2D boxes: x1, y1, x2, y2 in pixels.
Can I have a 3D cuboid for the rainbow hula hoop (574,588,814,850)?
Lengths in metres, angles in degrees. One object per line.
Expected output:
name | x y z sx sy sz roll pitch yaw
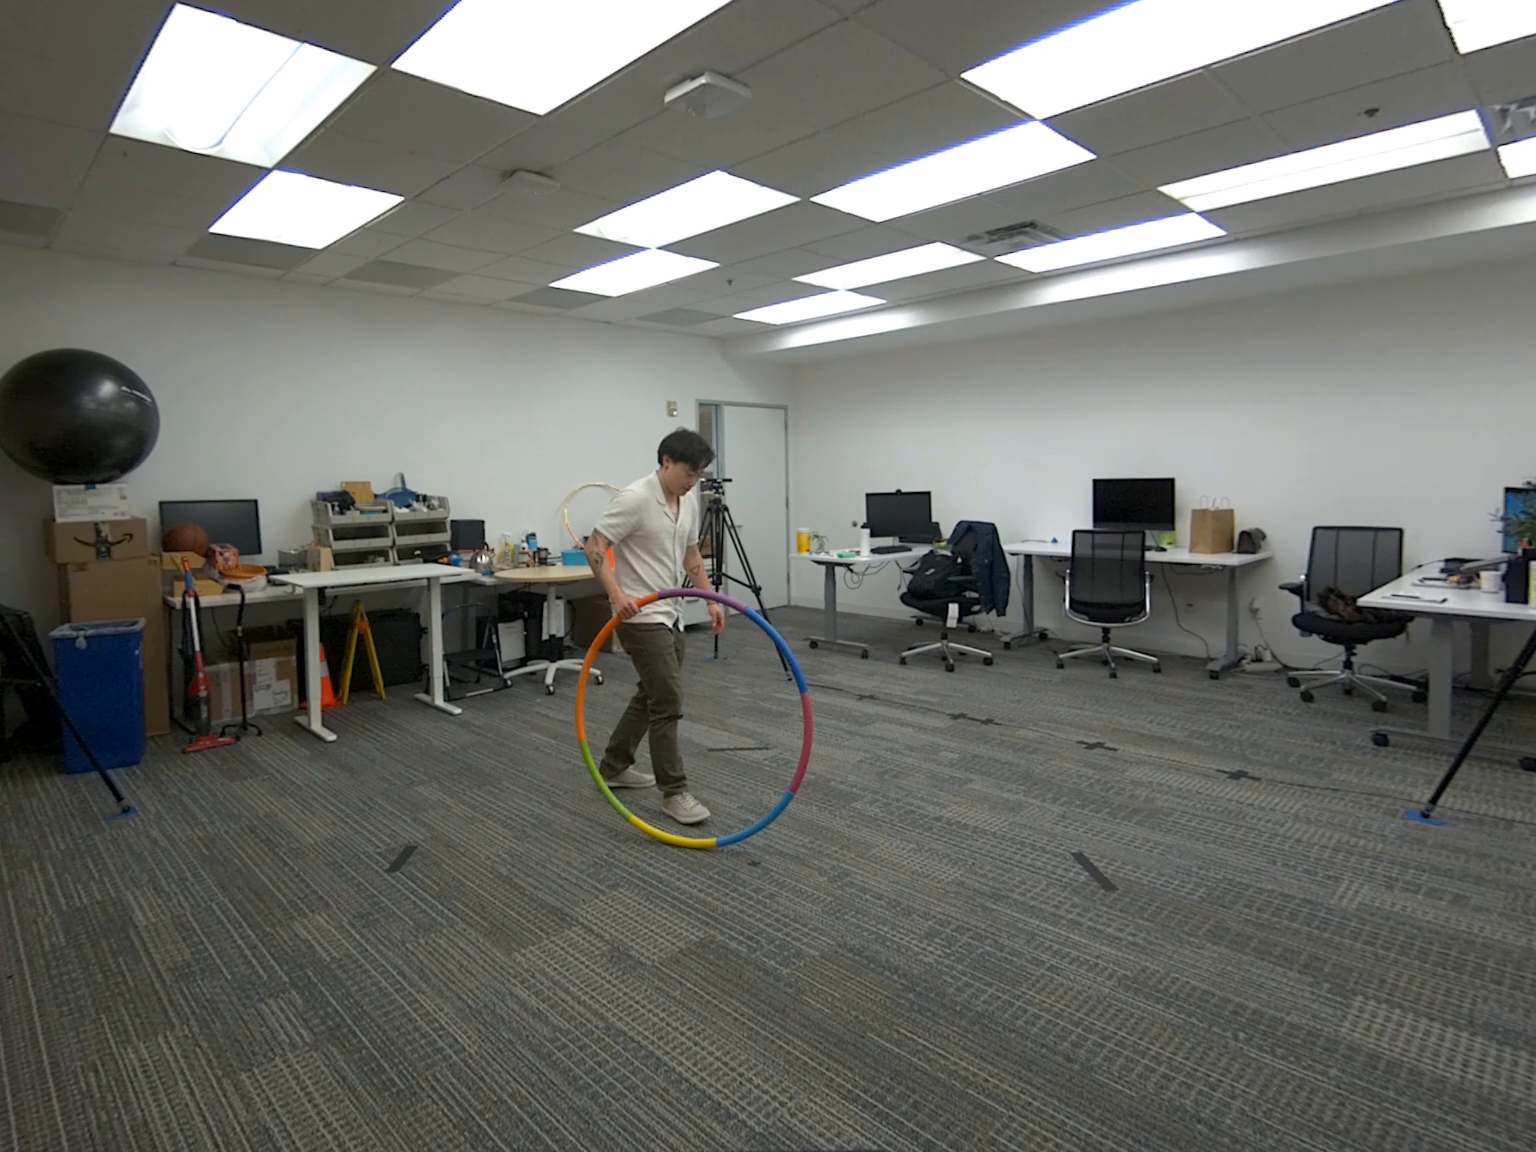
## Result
rainbow hula hoop | -0.304 0.548 3.274 0.998 0.981 0.035 1 -2 21
